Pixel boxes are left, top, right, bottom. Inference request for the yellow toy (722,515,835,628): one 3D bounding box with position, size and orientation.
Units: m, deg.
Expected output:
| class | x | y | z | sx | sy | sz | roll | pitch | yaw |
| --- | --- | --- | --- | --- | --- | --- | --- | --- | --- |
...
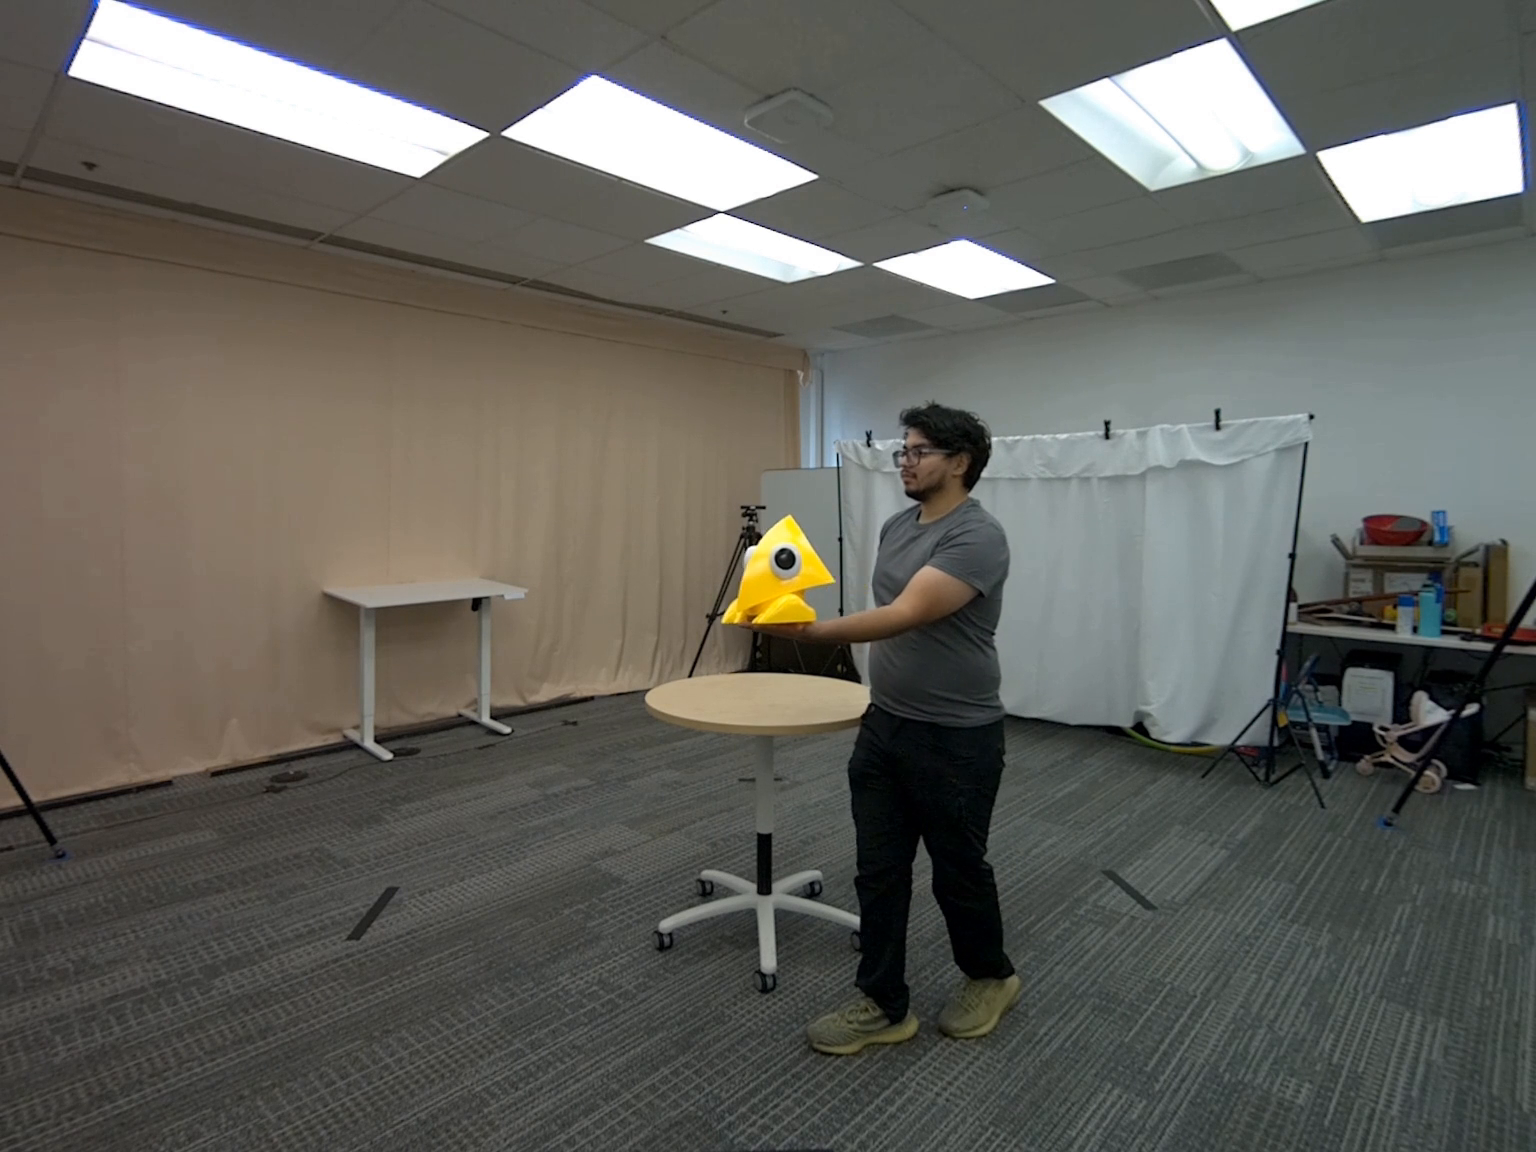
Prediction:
| class | x | y | z | sx | sy | sz | roll | pitch | yaw |
| --- | --- | --- | --- | --- | --- | --- | --- | --- | --- |
| yellow toy | 0.013 | -0.016 | 1.807 | 0.187 | 0.231 | 0.210 | 0 | -3 | -37 |
